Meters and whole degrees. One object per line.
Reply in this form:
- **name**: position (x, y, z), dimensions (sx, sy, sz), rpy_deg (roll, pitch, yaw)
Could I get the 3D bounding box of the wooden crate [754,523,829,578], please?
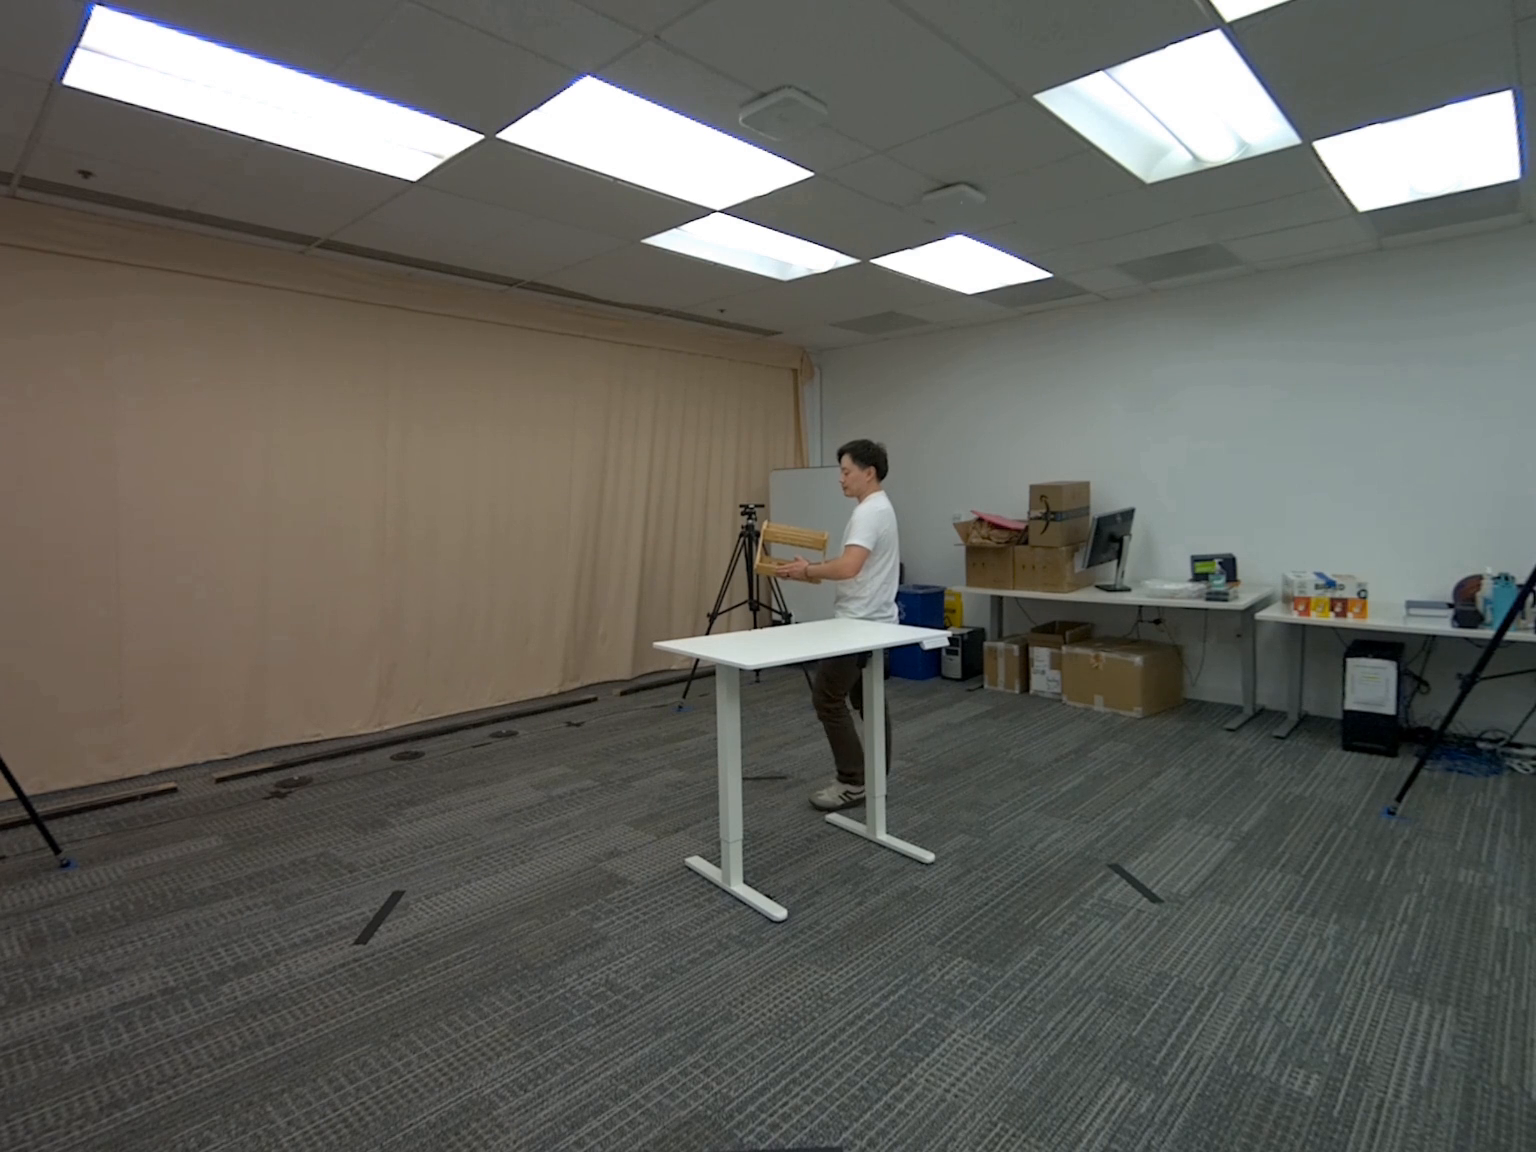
- **wooden crate**: position (0.119, -0.118, 4.064), dimensions (0.325, 0.273, 0.301), rpy_deg (10, -2, 1)
